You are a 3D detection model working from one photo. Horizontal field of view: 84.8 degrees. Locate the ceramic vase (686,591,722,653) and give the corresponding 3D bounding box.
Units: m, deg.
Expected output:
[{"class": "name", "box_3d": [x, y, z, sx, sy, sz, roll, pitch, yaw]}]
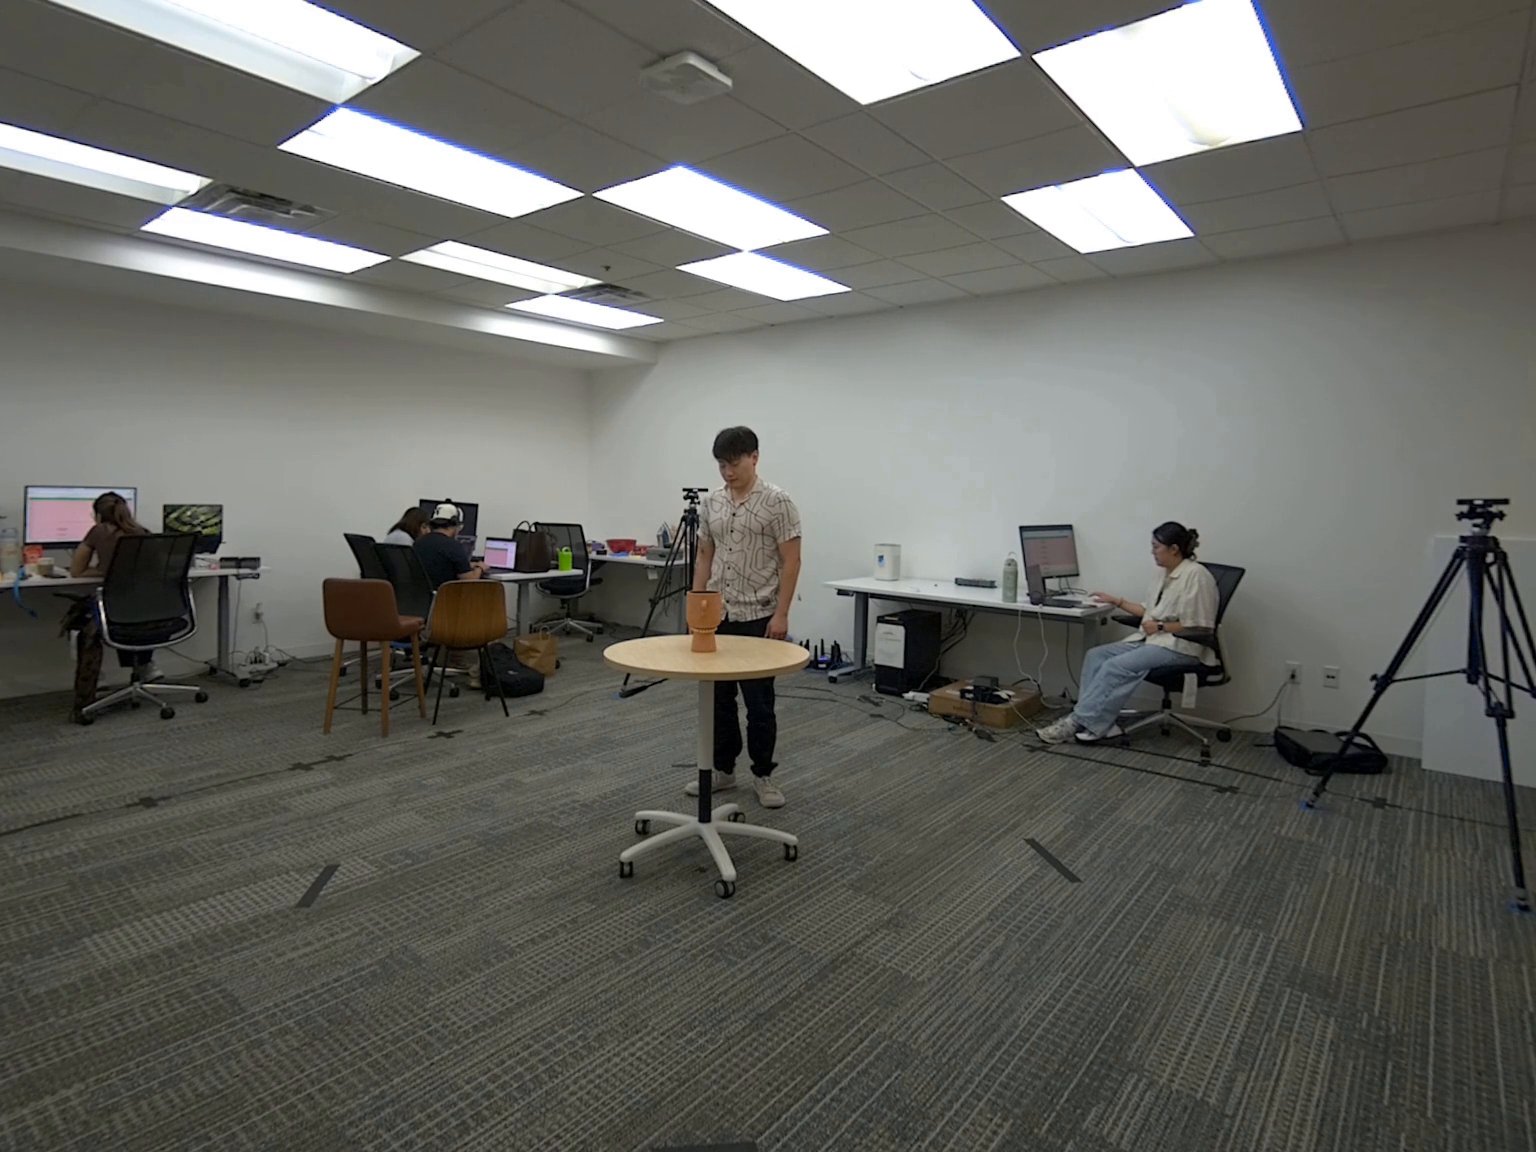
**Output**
[{"class": "ceramic vase", "box_3d": [-0.252, 0.169, 3.194, 0.139, 0.219, 0.154, 2, 4, 36]}]
